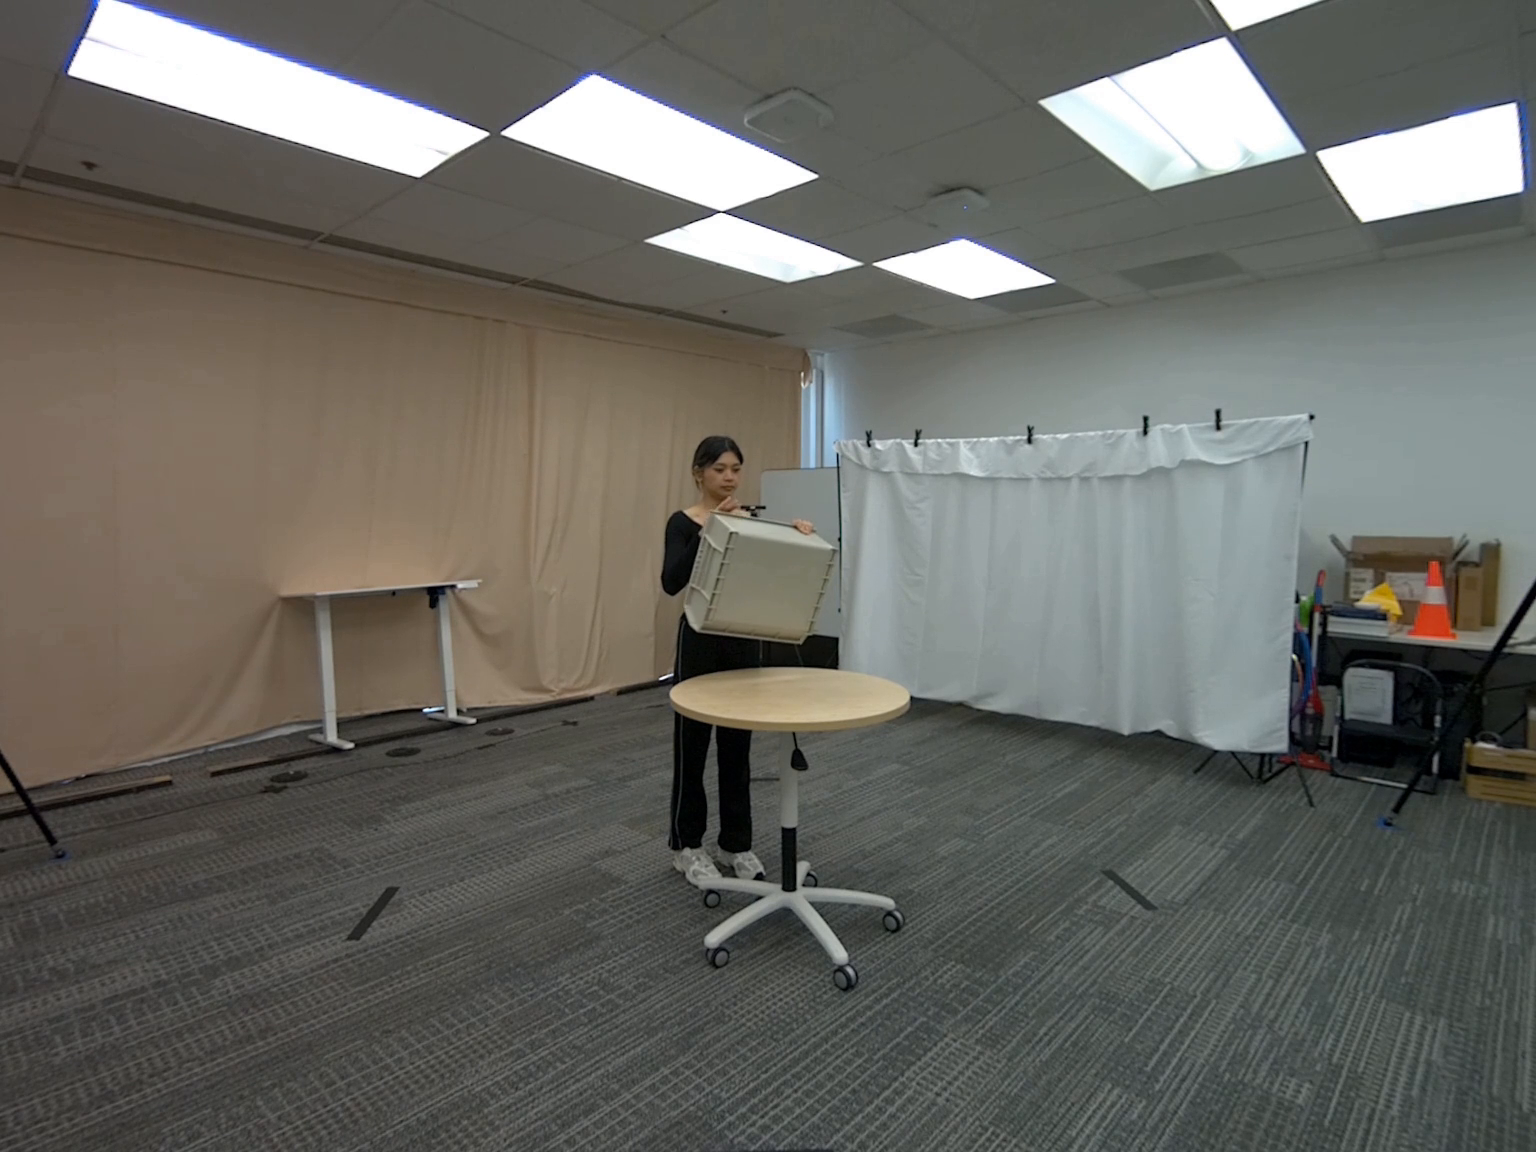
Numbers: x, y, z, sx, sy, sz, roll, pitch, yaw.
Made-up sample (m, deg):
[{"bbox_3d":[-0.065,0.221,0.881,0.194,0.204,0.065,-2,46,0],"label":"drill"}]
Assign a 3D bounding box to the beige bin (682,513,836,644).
[{"bbox_3d":[-0.019,0.016,2.827,0.411,0.375,0.195,9,16,-26],"label":"beige bin"}]
